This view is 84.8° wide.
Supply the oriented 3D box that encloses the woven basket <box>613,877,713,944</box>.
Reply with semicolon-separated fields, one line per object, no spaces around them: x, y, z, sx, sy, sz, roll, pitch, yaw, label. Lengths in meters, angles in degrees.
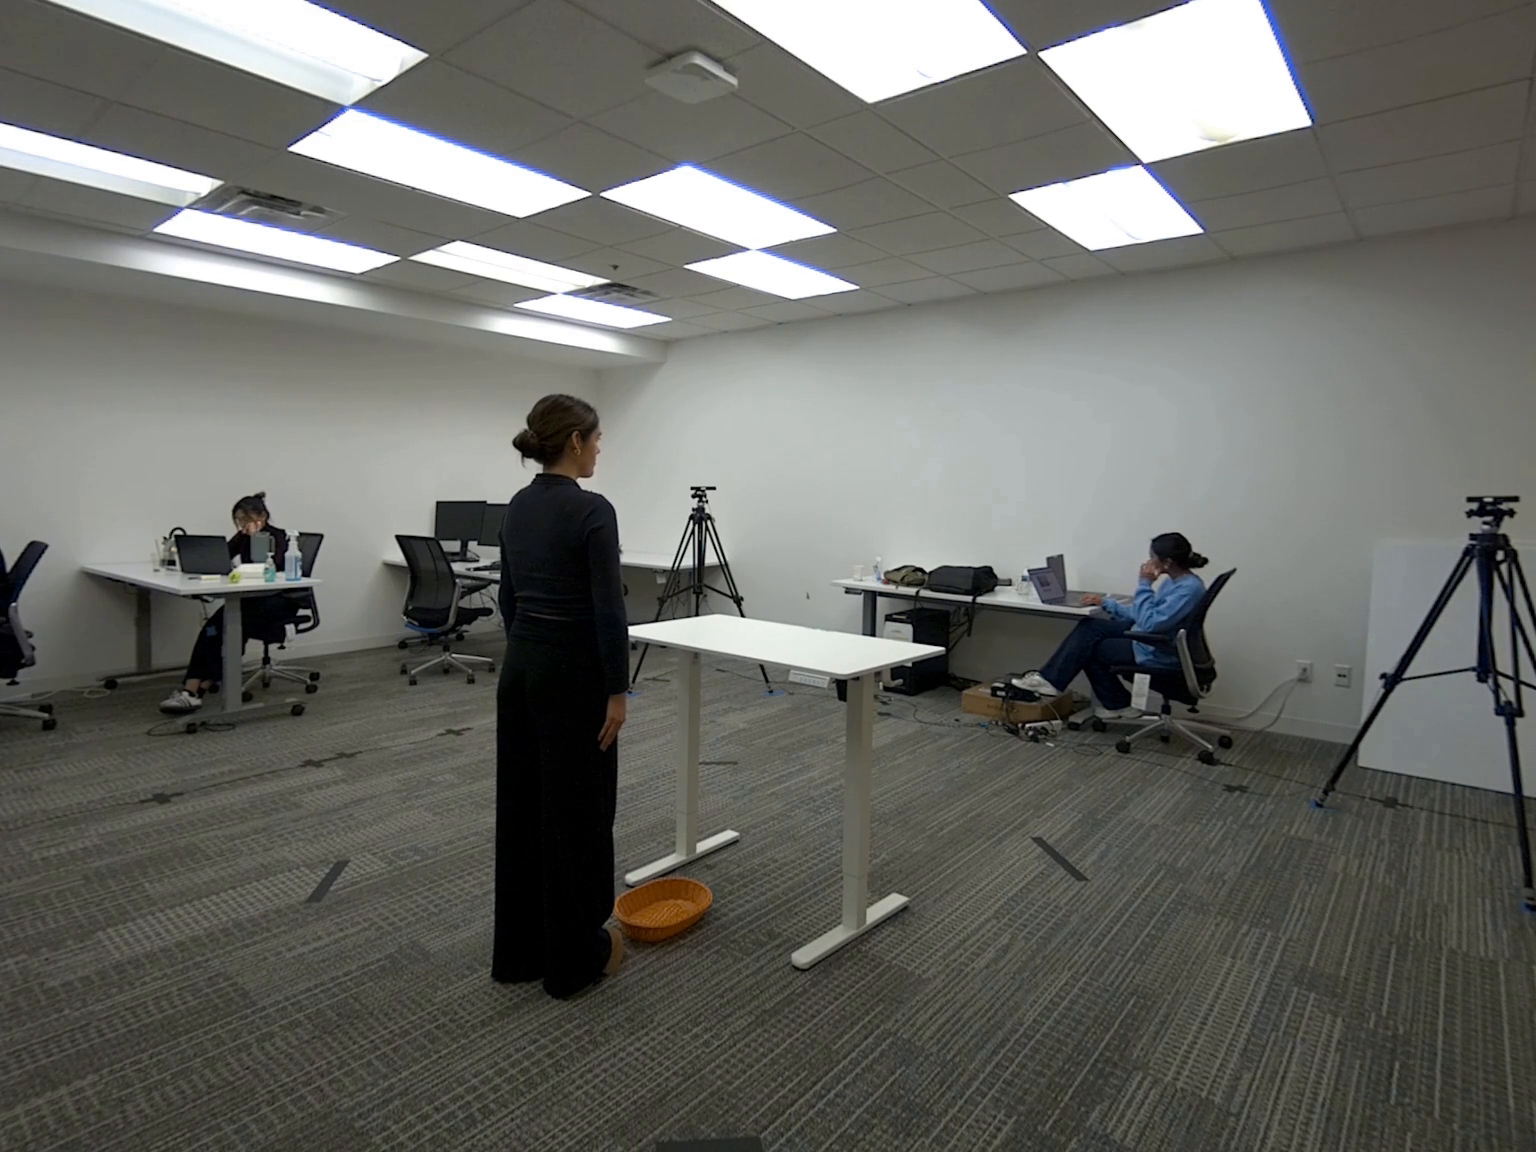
-0.346;1.063;2.715;0.261;0.073;0.340;6;8;42;woven basket
